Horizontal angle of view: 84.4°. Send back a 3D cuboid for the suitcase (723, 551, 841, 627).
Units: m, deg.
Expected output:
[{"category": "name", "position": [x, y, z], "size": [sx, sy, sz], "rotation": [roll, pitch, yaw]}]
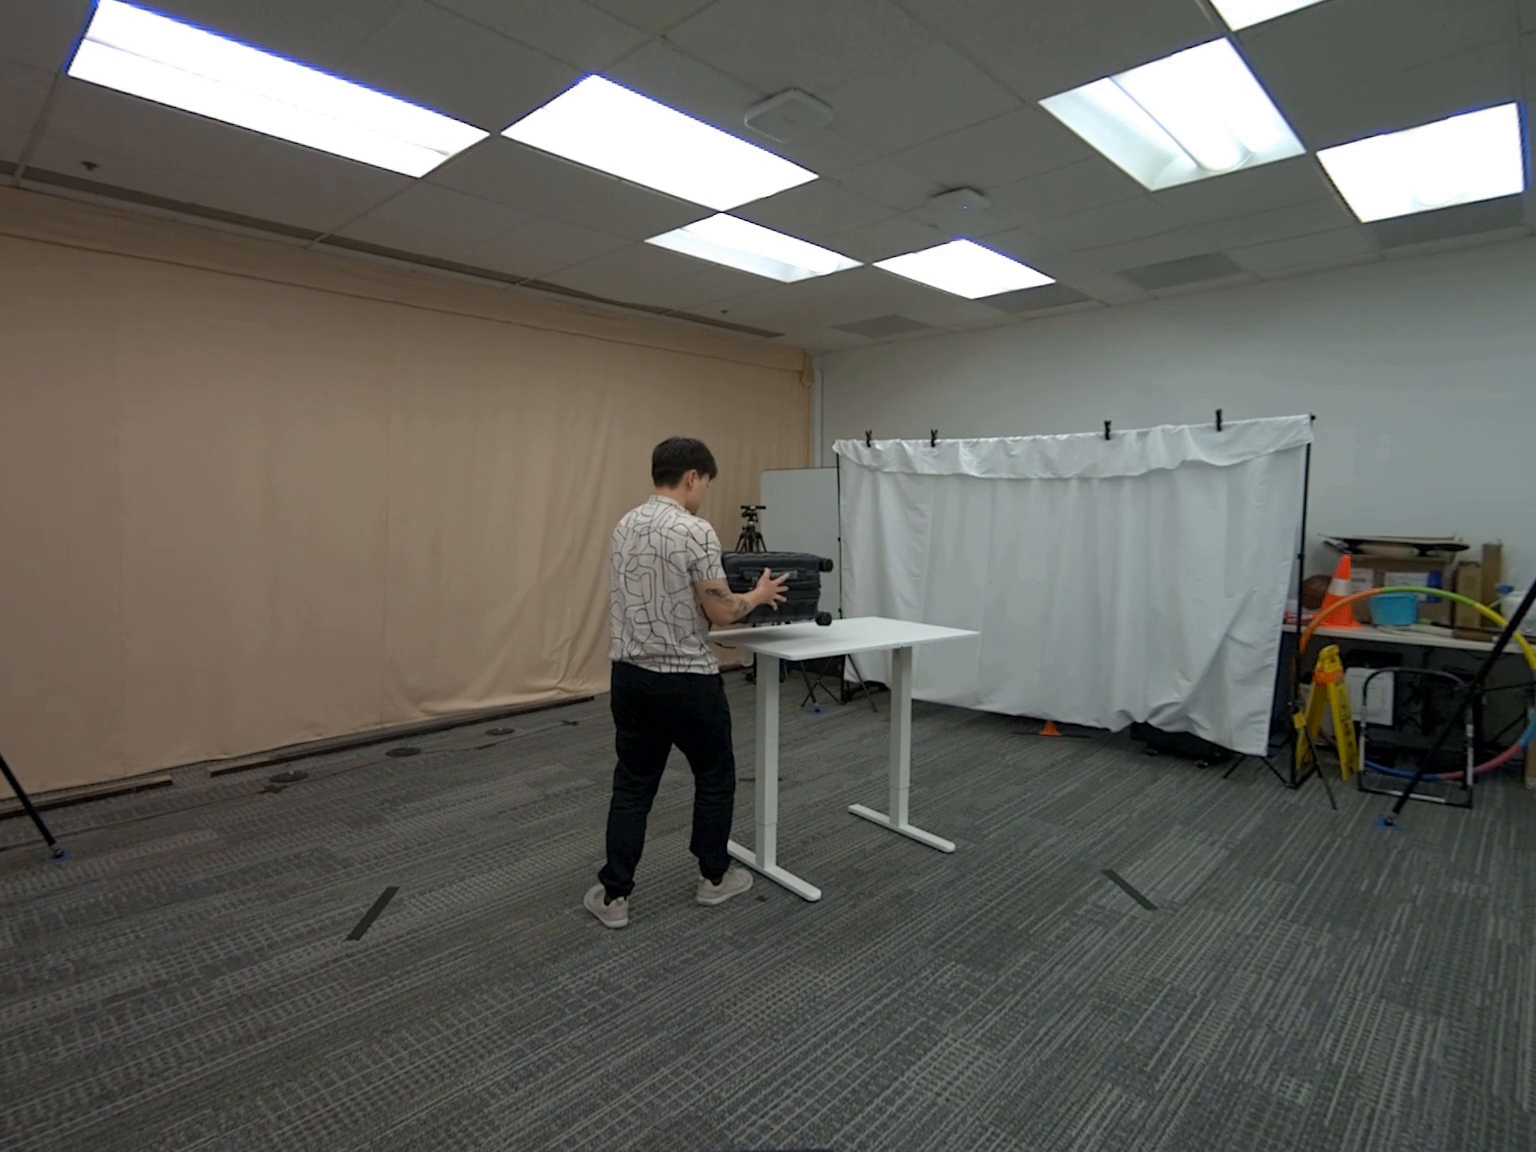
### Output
[{"category": "suitcase", "position": [-0.063, 0.036, 3.178], "size": [0.532, 0.248, 0.388], "rotation": [2, 2, -41]}]
